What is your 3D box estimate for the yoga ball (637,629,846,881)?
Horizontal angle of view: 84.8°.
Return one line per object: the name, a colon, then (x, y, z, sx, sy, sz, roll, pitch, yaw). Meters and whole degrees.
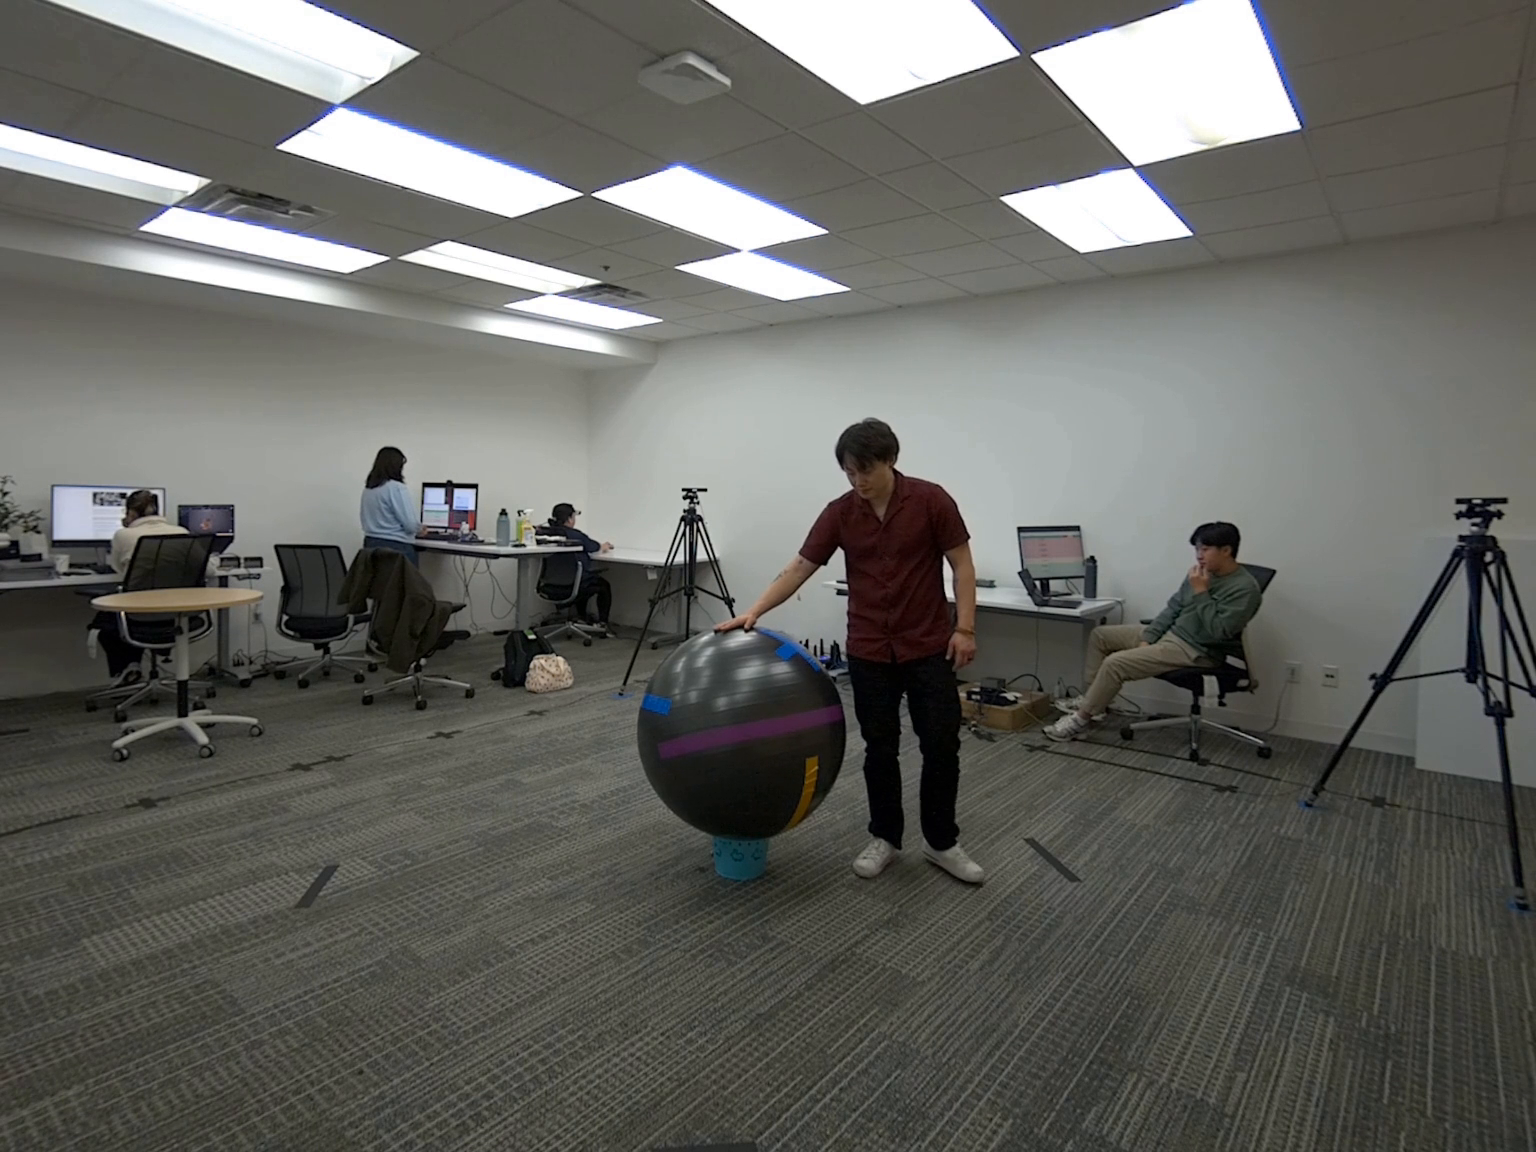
yoga ball: (-0.113, 0.560, 3.101, 0.757, 0.755, 0.762, 1, 4, -2)
